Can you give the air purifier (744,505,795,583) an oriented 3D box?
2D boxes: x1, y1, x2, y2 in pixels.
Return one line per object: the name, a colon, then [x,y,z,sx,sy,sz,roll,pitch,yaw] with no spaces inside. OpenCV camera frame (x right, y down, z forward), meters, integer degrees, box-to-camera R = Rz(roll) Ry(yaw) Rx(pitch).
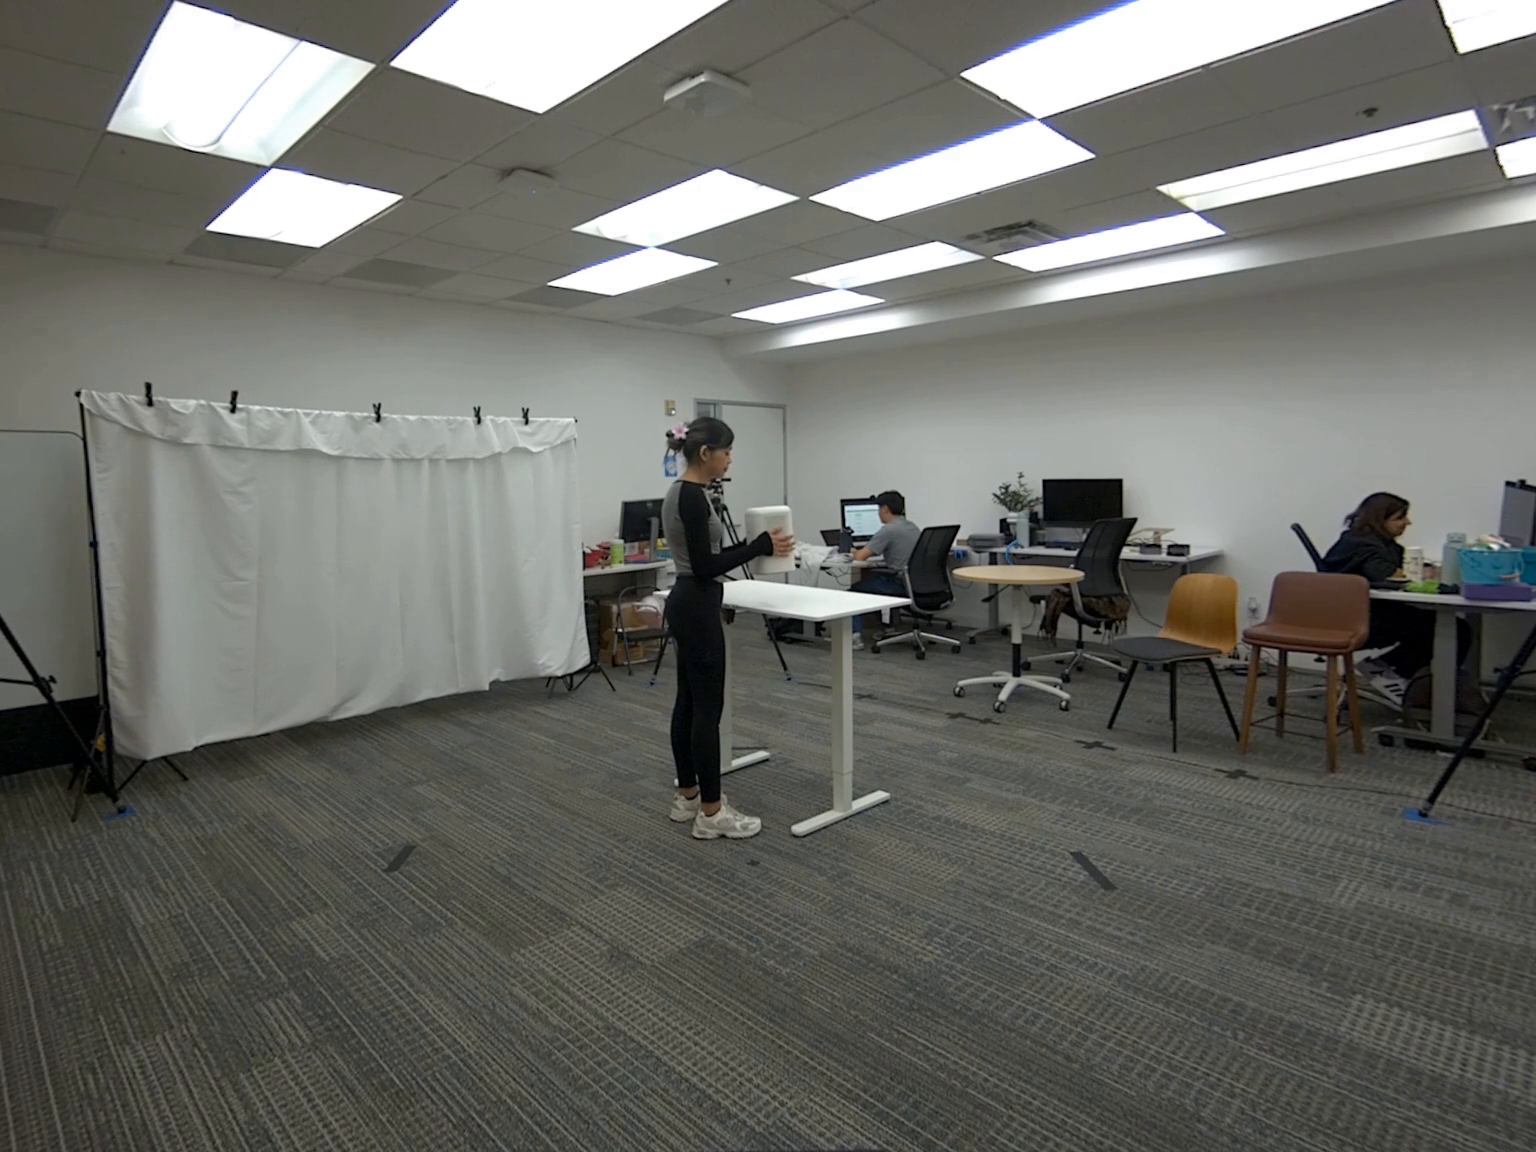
air purifier: [0.000,-0.148,3.437,0.169,0.264,0.174,-4,5,-16]
